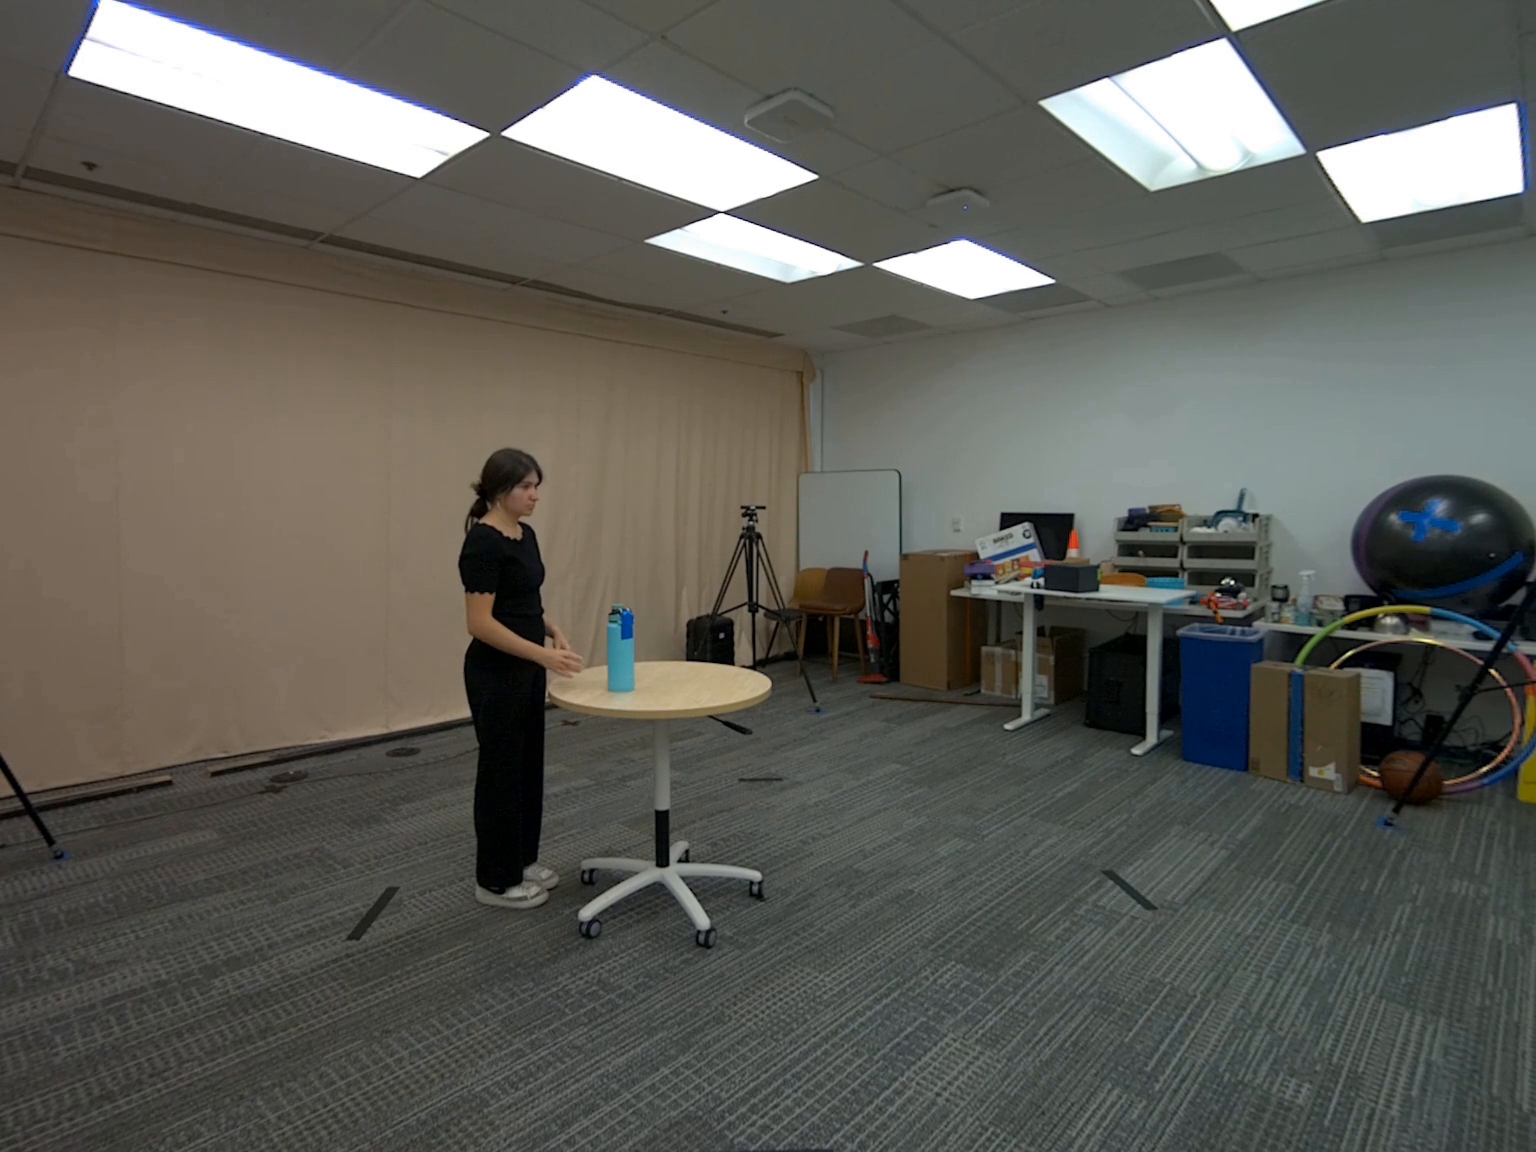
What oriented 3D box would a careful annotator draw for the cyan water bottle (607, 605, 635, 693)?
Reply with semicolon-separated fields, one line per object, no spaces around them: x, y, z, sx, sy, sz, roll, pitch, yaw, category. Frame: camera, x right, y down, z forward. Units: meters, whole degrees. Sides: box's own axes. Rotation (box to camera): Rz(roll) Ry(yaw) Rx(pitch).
-0.490;0.238;2.788;0.092;0.283;0.092;1;2;-2;cyan water bottle
